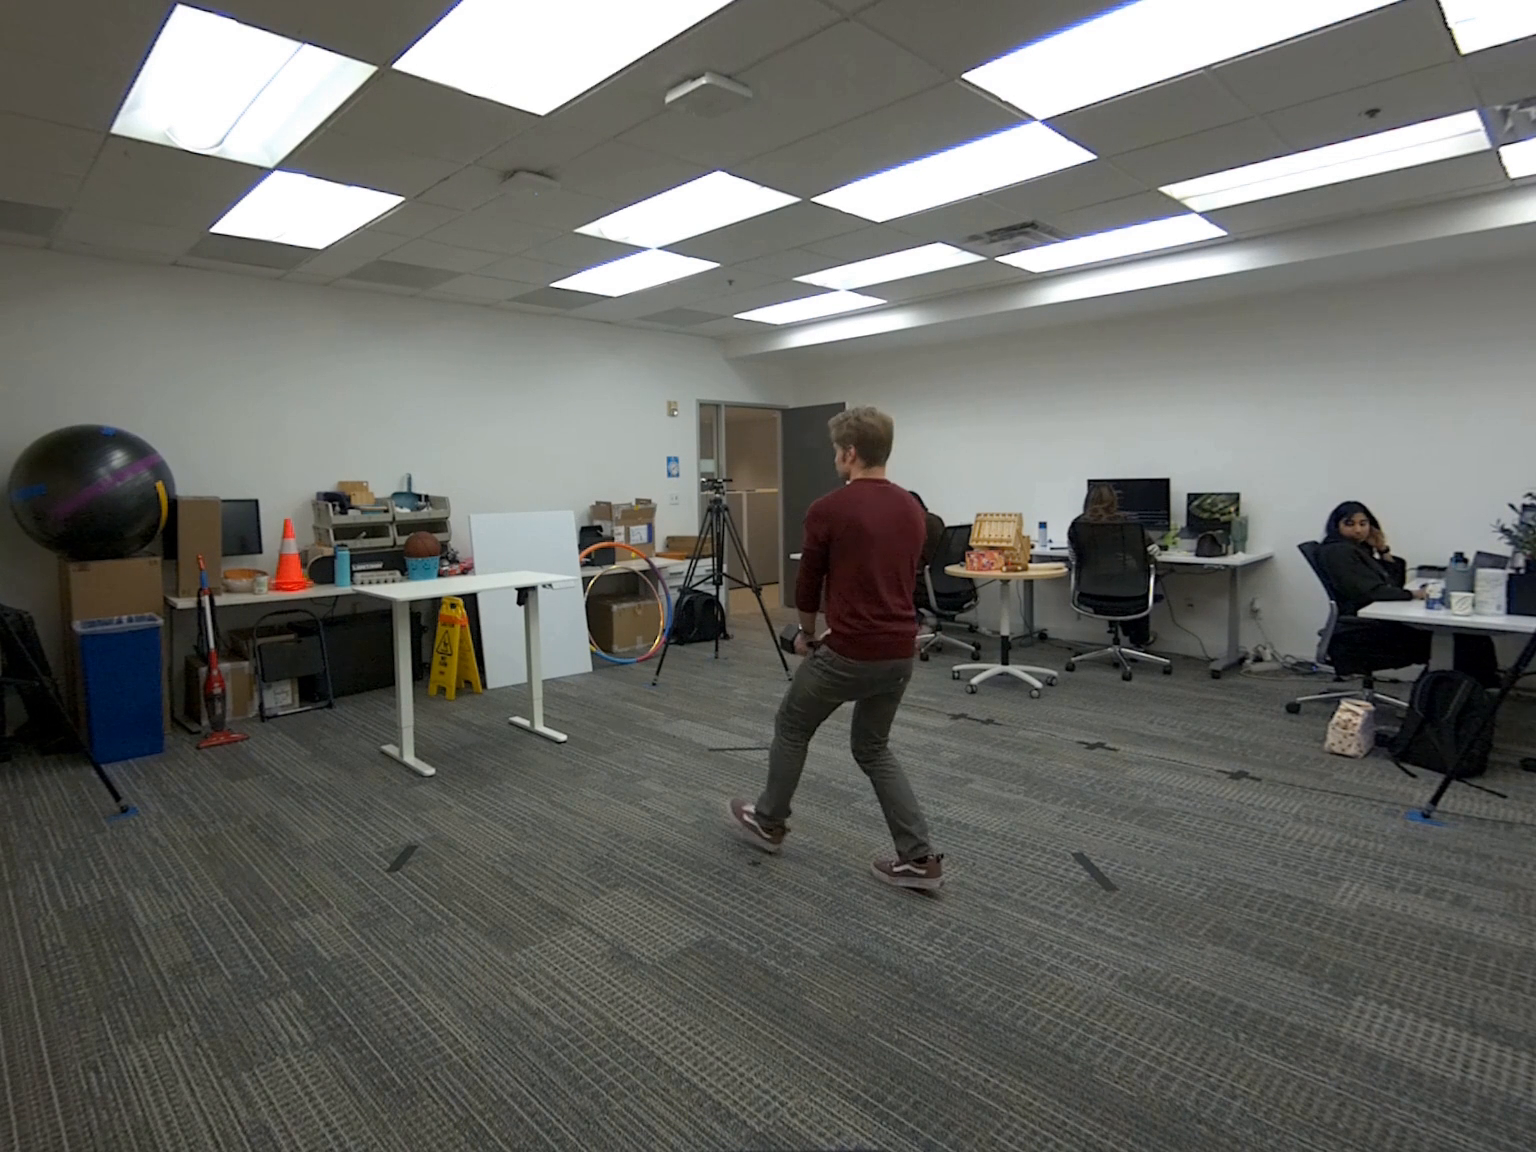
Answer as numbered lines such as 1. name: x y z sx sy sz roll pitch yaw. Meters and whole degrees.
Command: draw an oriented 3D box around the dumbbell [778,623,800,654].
1. dumbbell: 0.177 0.284 3.242 0.305 0.123 0.104 23 -23 46
